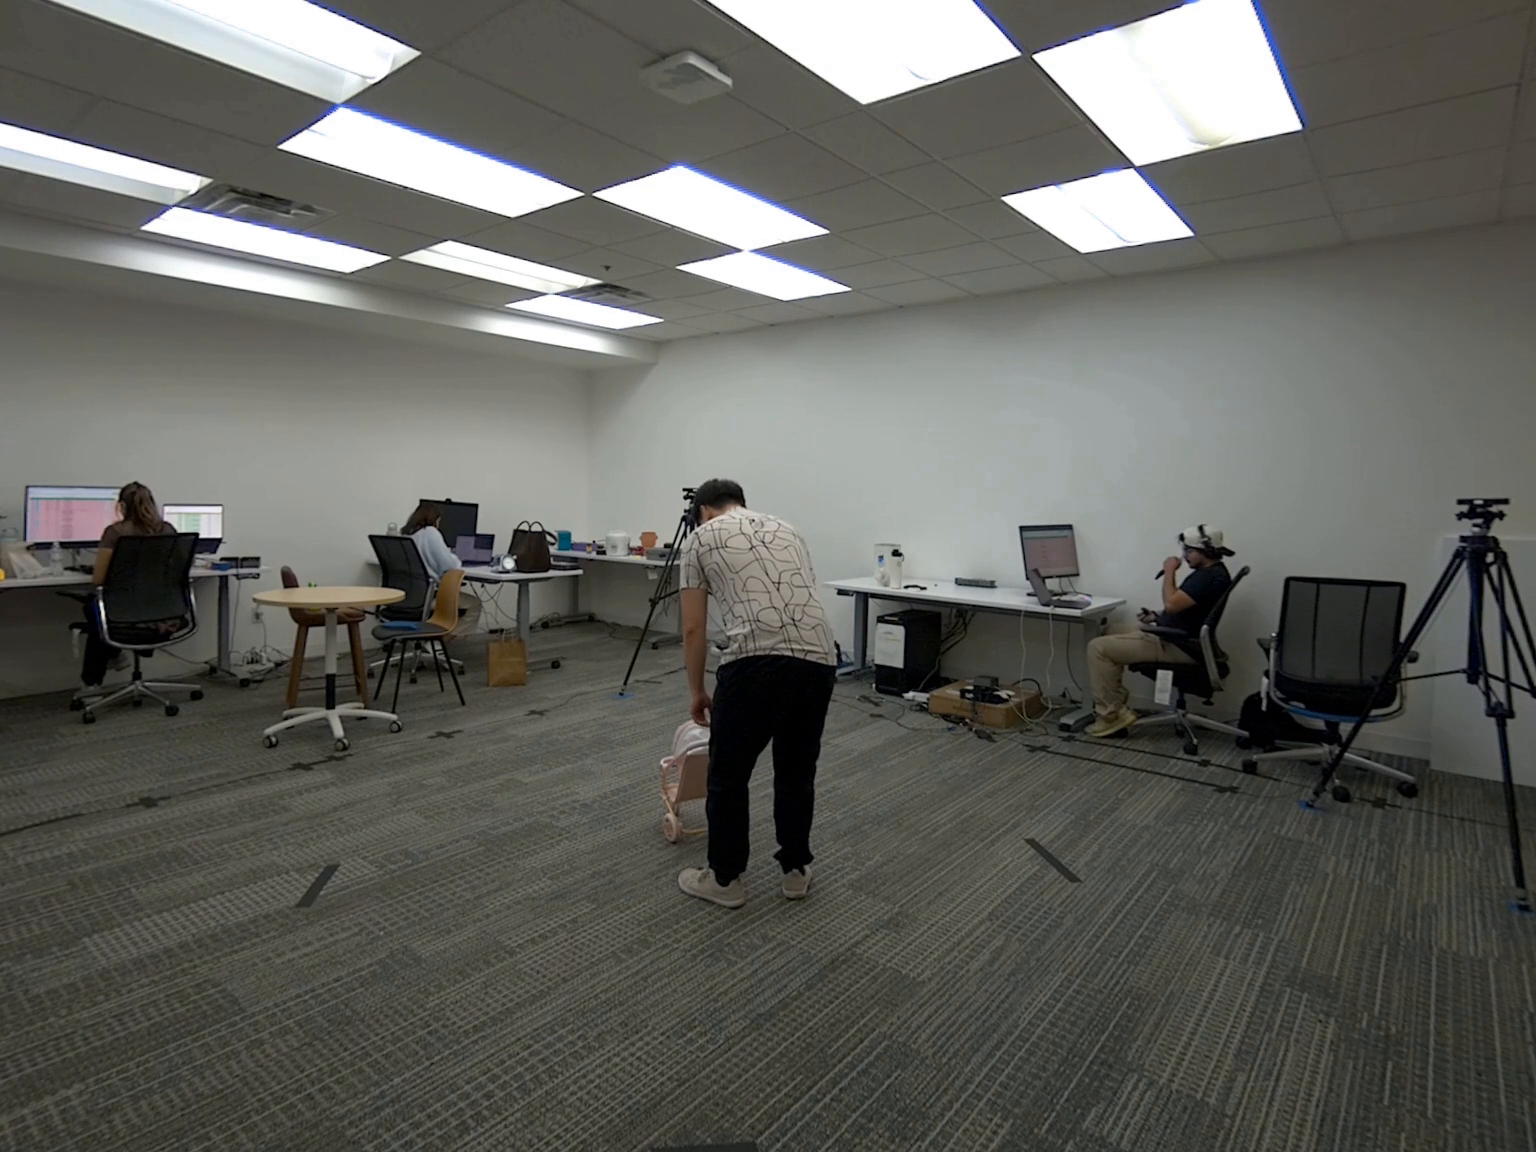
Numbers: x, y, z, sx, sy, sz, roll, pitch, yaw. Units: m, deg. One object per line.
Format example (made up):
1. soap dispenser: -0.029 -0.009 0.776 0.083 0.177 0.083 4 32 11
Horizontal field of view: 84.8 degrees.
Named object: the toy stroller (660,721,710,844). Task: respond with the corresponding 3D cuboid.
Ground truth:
1. toy stroller: -0.313 0.809 3.454 0.275 0.527 0.354 0 20 -24
